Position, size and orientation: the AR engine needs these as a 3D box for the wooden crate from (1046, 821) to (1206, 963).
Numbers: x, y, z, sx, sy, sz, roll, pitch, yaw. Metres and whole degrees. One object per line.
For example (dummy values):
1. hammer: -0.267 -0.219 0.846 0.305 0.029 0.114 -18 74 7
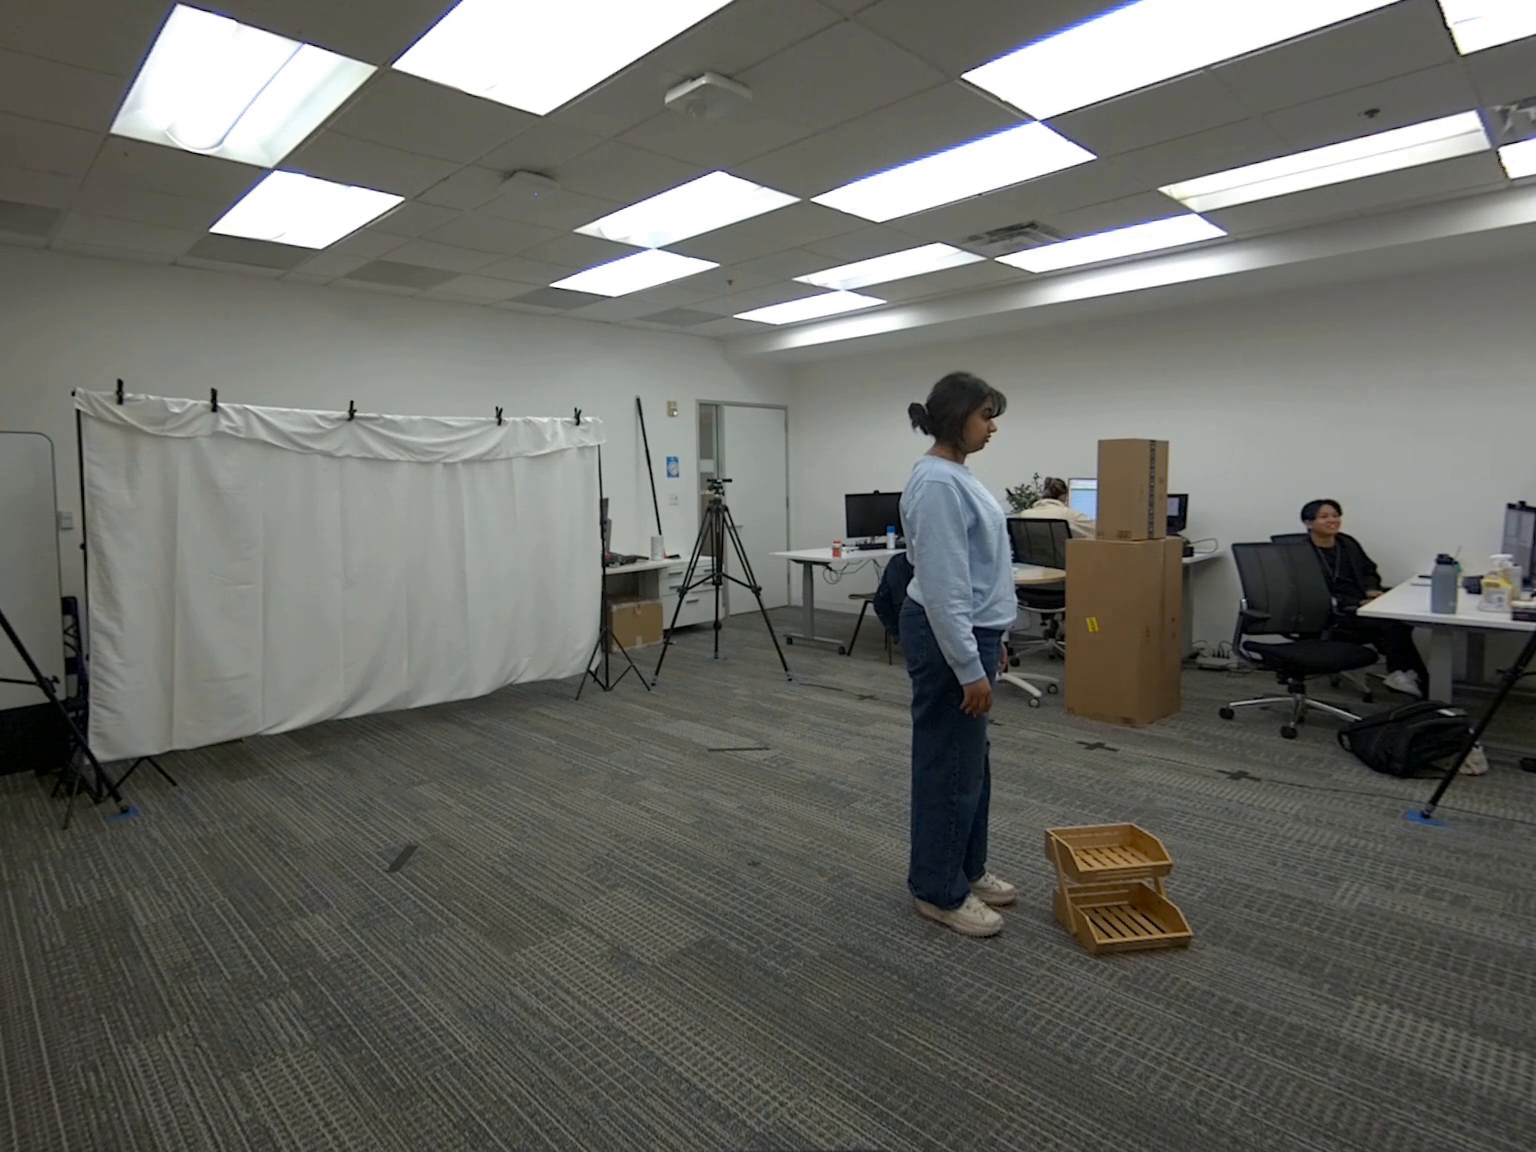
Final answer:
1. wooden crate: 1.074 0.945 2.604 0.322 0.272 0.305 -2 4 -8
